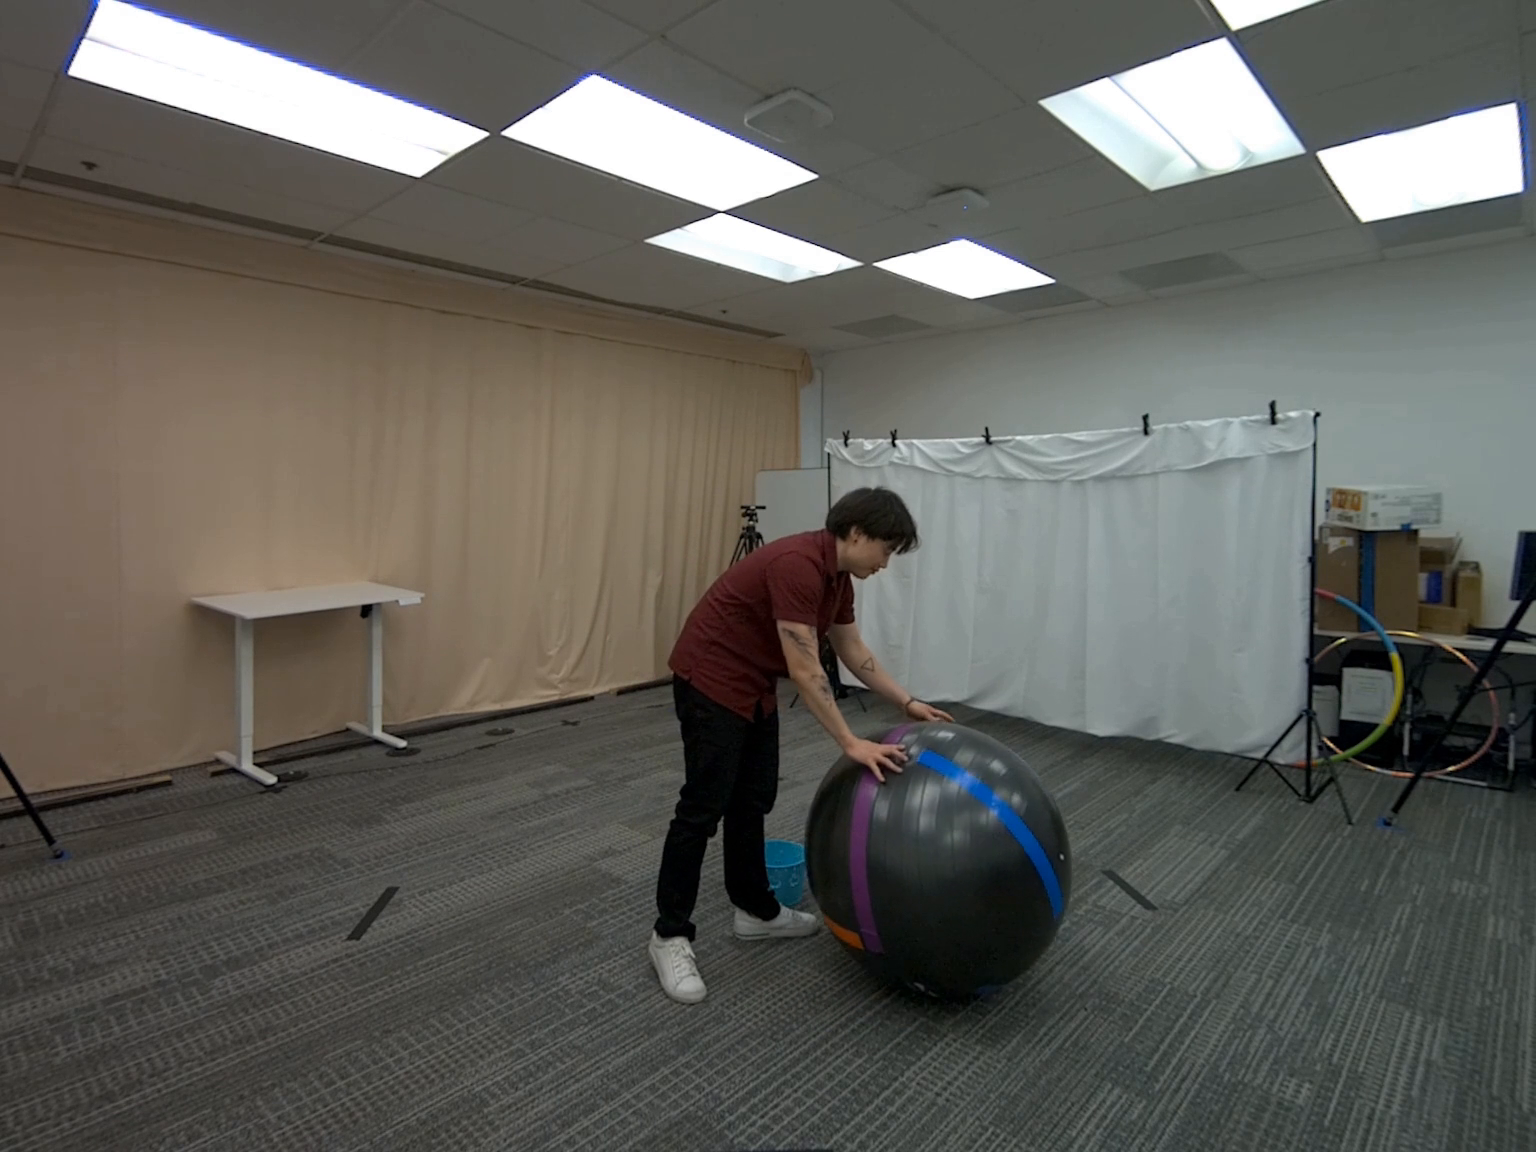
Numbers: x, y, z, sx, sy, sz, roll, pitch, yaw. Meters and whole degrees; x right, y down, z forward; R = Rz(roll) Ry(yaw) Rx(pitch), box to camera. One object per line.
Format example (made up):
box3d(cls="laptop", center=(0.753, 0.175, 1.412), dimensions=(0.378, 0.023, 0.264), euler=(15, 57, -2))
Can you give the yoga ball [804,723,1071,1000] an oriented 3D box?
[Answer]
box3d(cls="yoga ball", center=(0.492, 0.821, 2.483), dimensions=(0.757, 0.756, 0.760), euler=(0, 4, -2))
